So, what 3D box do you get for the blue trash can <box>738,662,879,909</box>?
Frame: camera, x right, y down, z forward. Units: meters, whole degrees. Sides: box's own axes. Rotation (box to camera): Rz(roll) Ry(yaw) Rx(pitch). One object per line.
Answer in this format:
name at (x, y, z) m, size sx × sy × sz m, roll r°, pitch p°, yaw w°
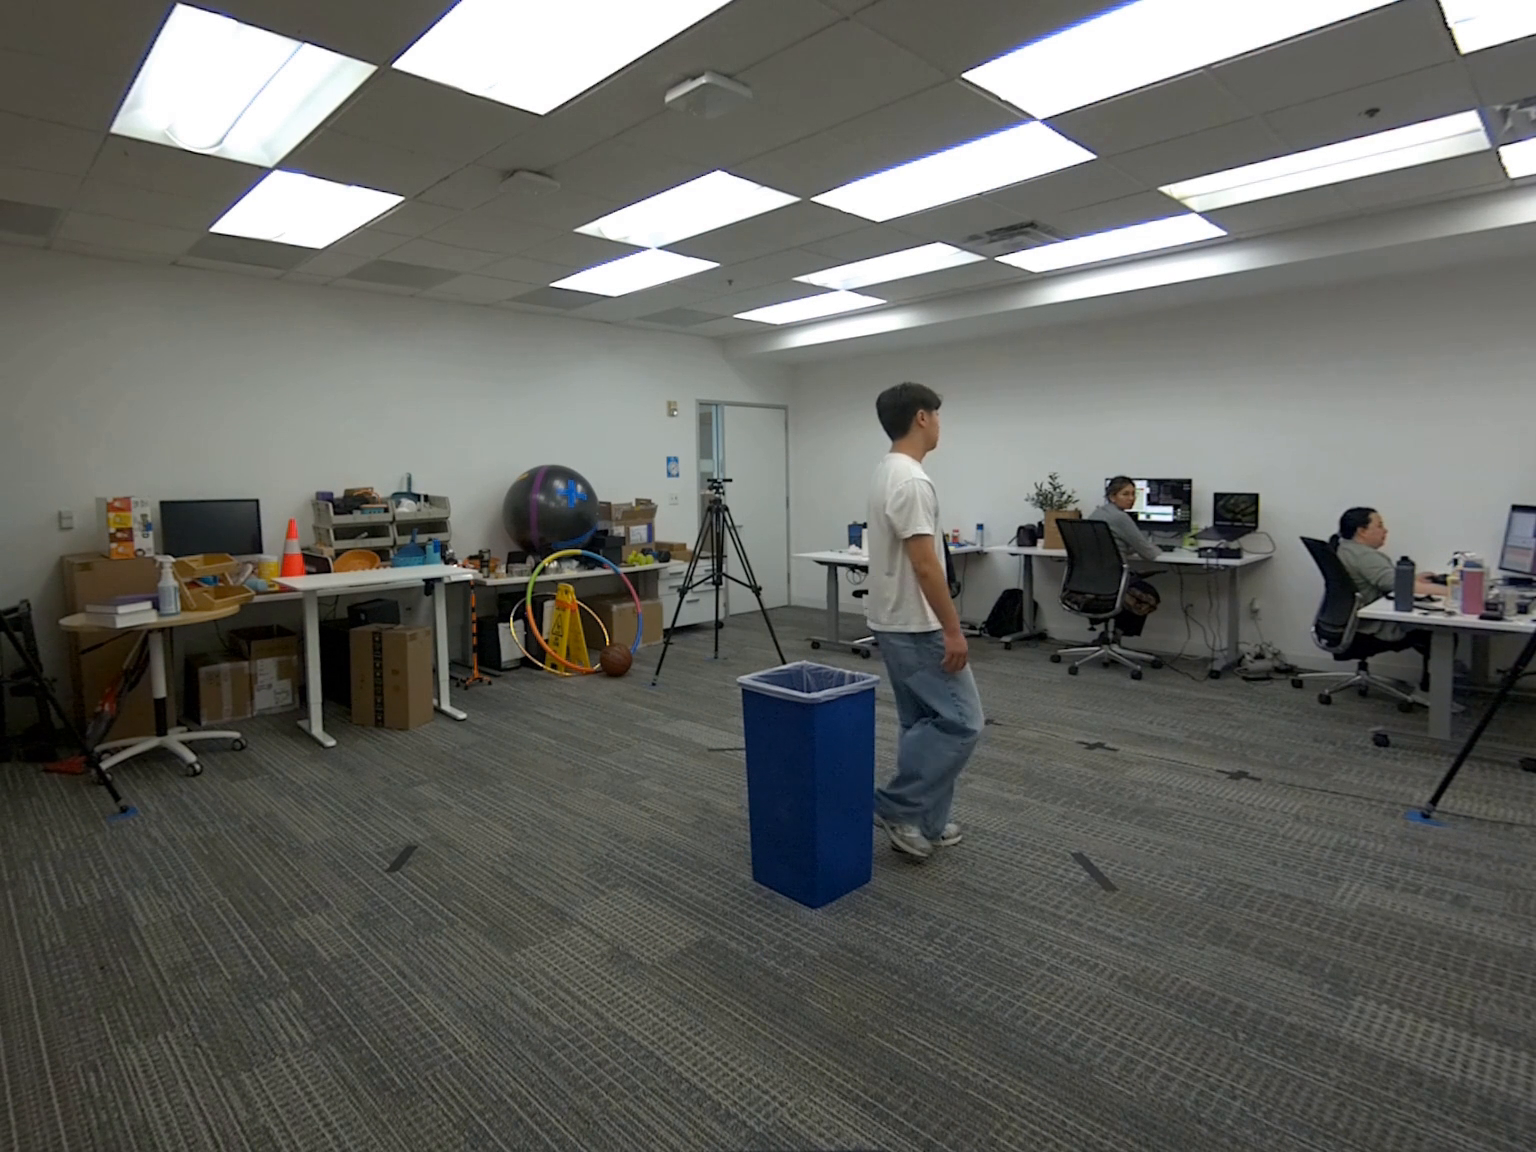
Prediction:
blue trash can at (0.146, 0.701, 2.941) m, size 0.364 × 0.711 × 0.389 m, roll -4°, pitch 5°, yaw -44°
